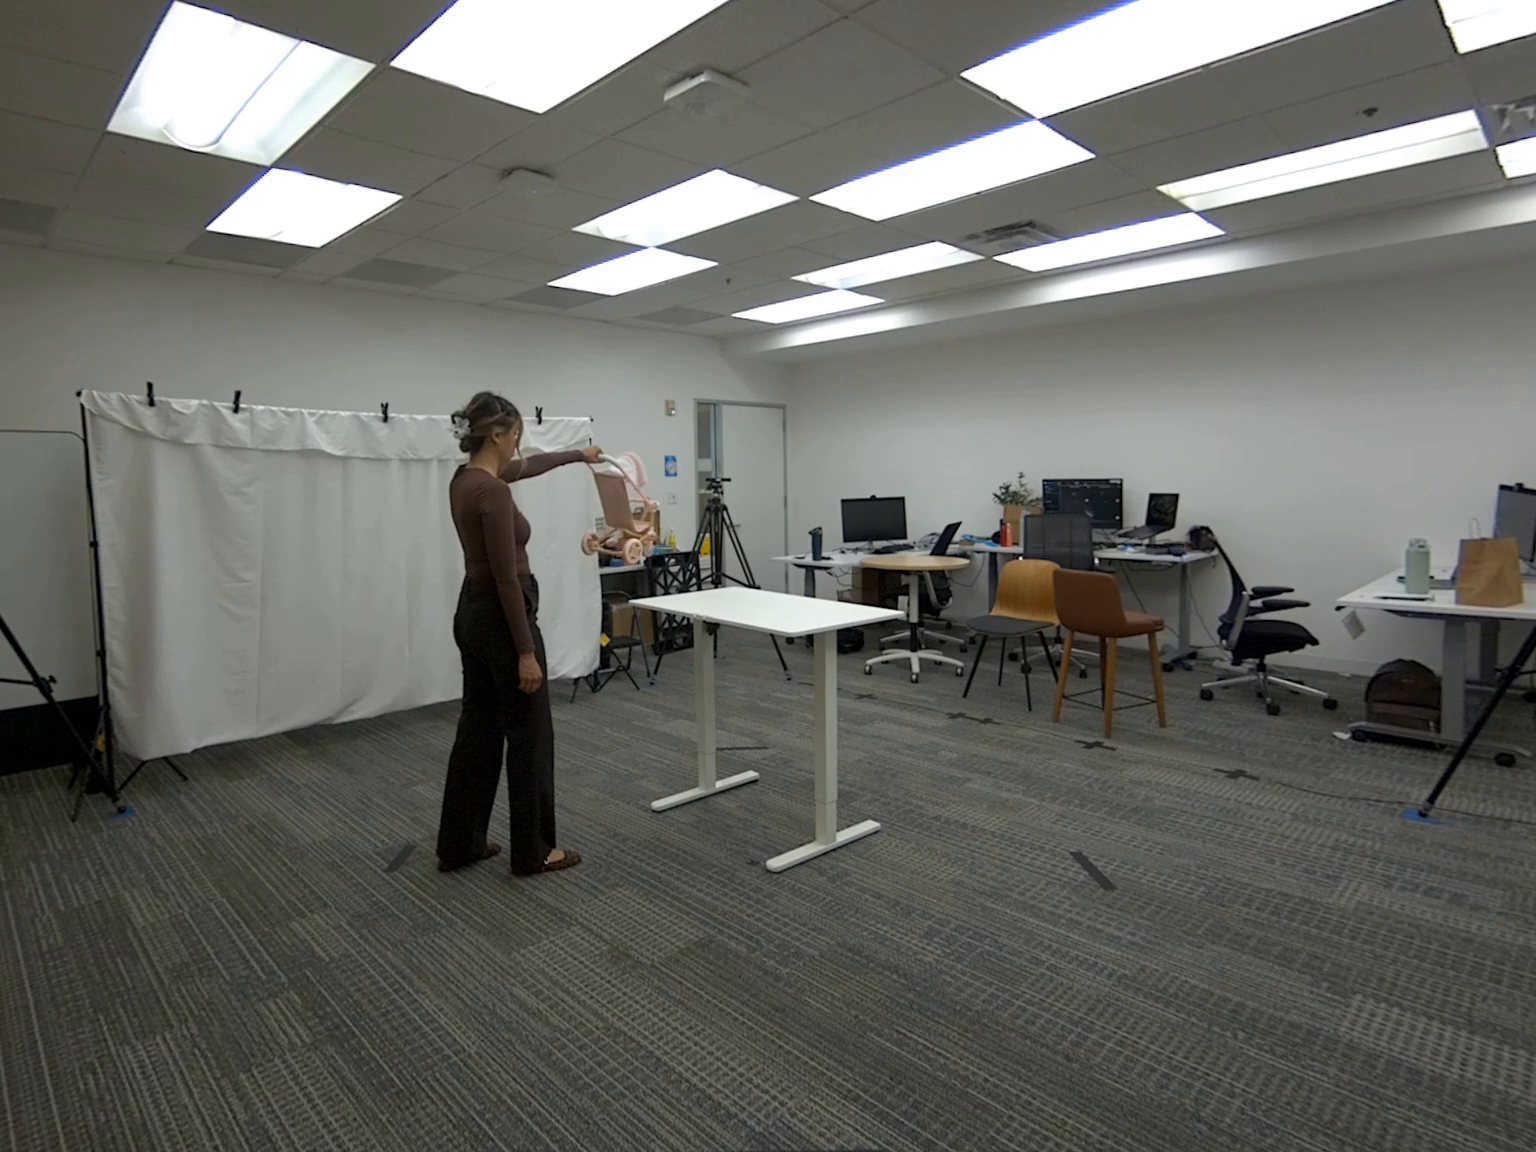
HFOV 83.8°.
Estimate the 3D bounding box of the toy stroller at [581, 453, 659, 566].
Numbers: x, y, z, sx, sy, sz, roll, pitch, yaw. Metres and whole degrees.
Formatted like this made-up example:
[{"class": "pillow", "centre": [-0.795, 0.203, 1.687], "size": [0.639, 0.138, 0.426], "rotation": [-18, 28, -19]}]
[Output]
[{"class": "toy stroller", "centre": [-0.634, -0.301, 3.782], "size": [0.290, 0.527, 0.335], "rotation": [10, 20, 36]}]
